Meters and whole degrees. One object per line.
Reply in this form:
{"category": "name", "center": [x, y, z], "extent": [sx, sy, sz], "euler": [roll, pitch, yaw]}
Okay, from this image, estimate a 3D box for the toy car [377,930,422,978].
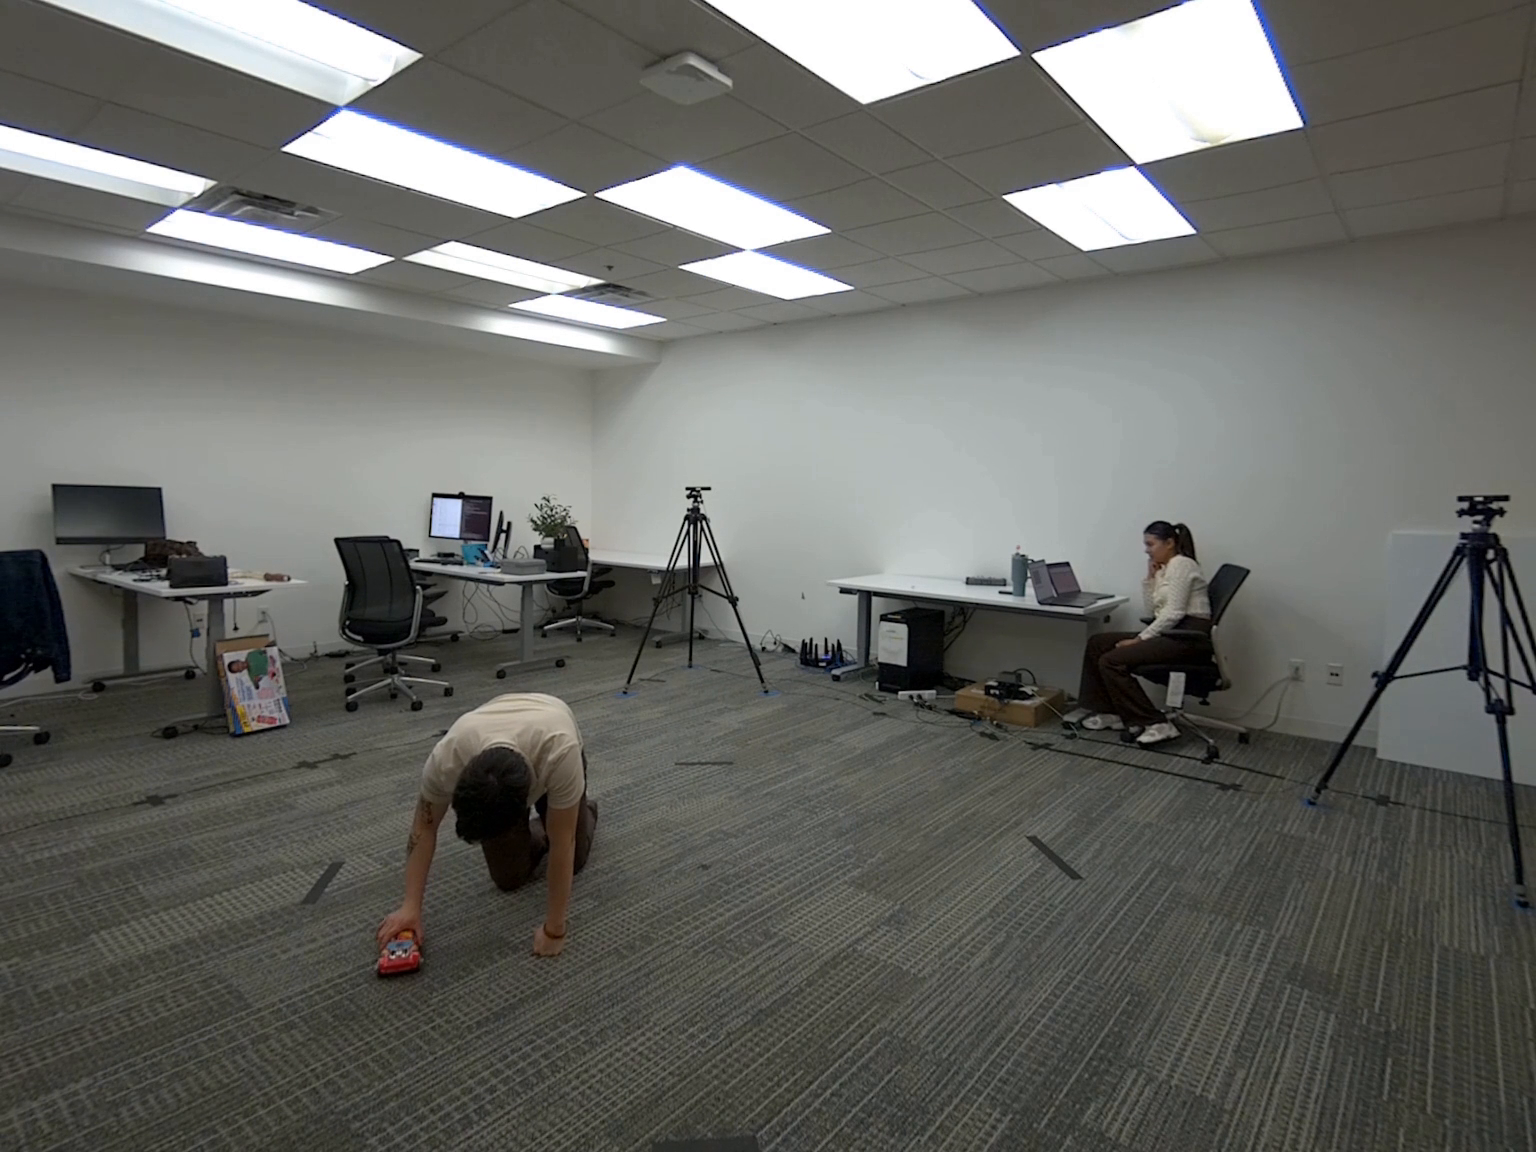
{"category": "toy car", "center": [-1.095, 1.087, 2.501], "extent": [0.128, 0.082, 0.263], "euler": [-3, 16, -20]}
